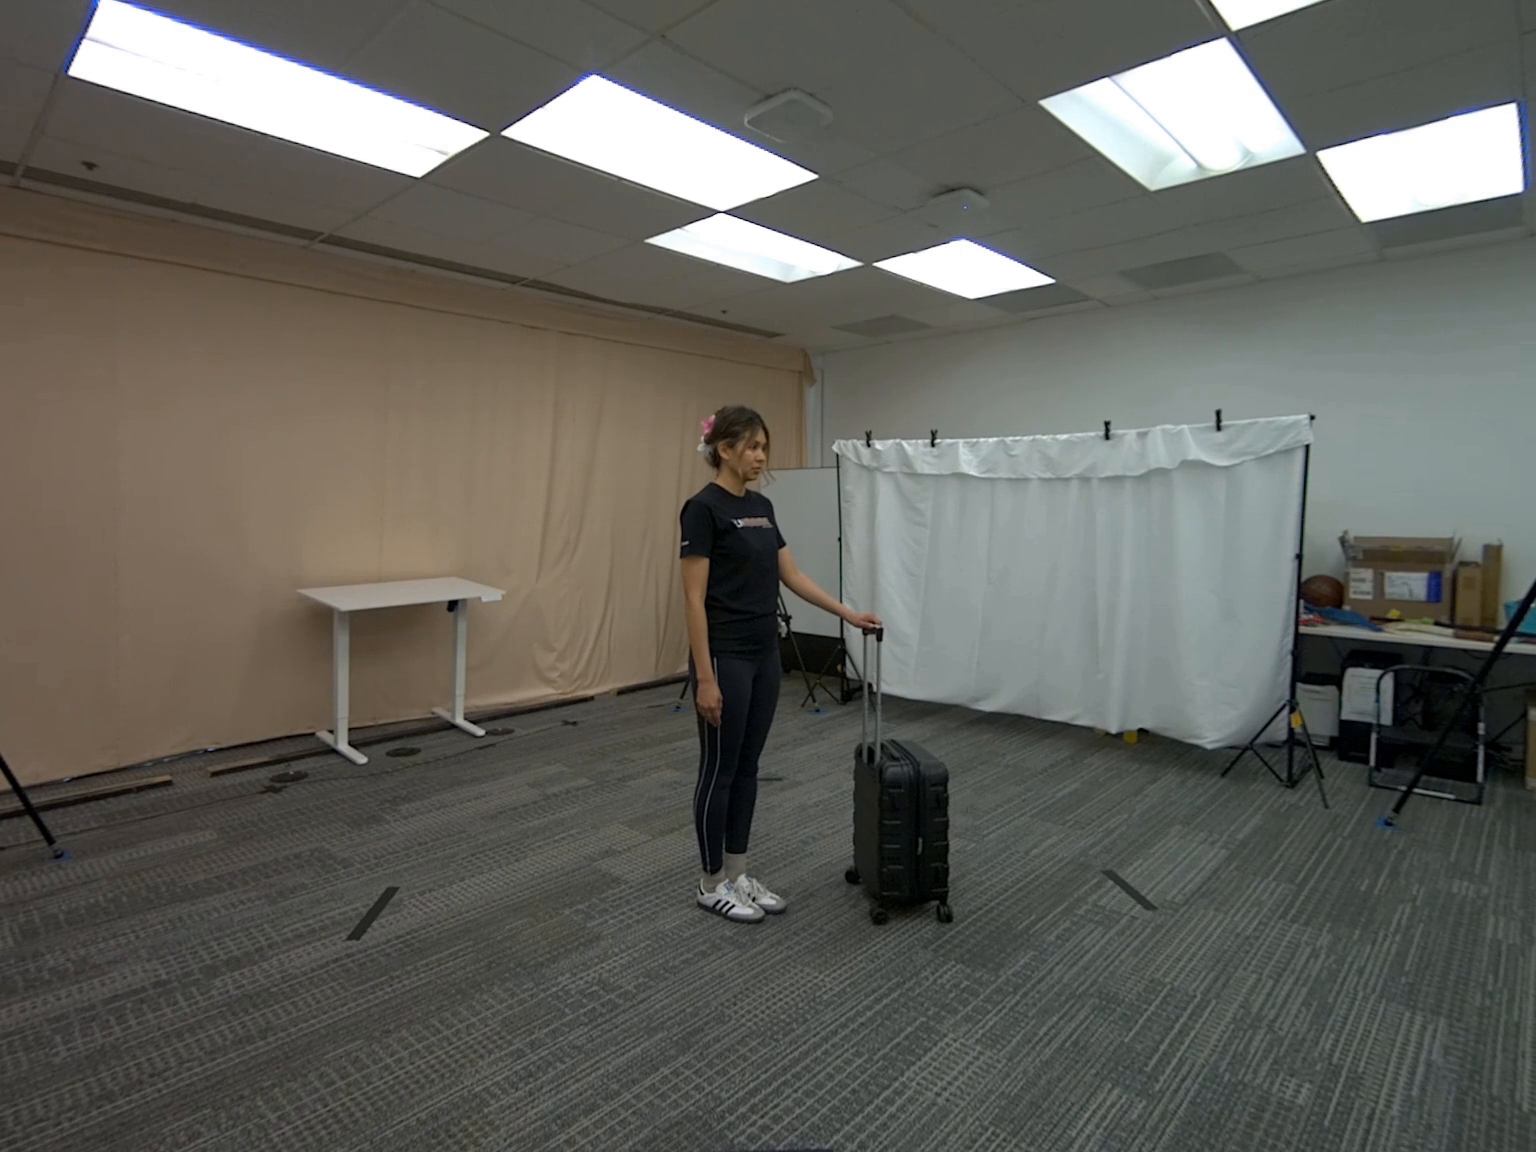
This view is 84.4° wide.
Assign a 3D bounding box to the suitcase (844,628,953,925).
[{"bbox_3d":[0.471,0.669,2.946,0.255,0.977,0.388,3,3,-8],"label":"suitcase"}]
